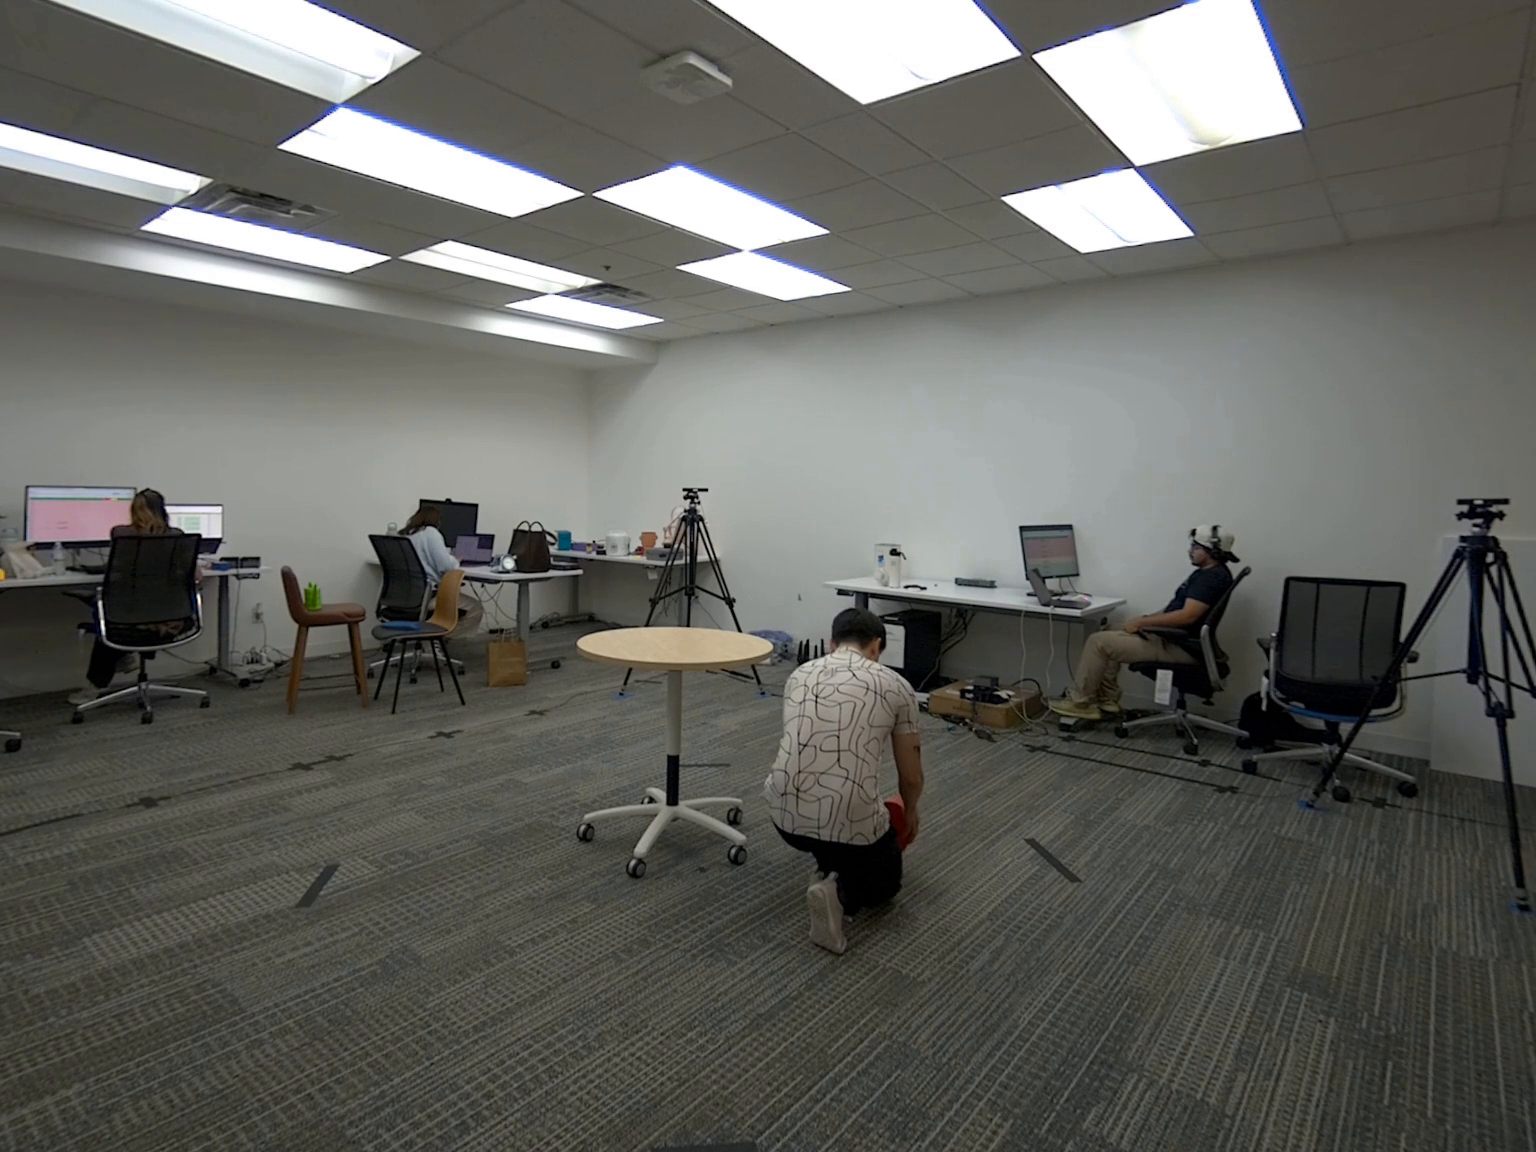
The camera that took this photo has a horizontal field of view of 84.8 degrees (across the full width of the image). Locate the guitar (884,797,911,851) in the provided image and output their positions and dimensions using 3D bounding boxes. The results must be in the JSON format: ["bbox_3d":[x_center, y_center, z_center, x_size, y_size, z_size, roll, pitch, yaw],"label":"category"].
[{"bbox_3d":[0.307,0.913,3.207,0.511,0.192,0.069,-5,3,33],"label":"guitar"}]
